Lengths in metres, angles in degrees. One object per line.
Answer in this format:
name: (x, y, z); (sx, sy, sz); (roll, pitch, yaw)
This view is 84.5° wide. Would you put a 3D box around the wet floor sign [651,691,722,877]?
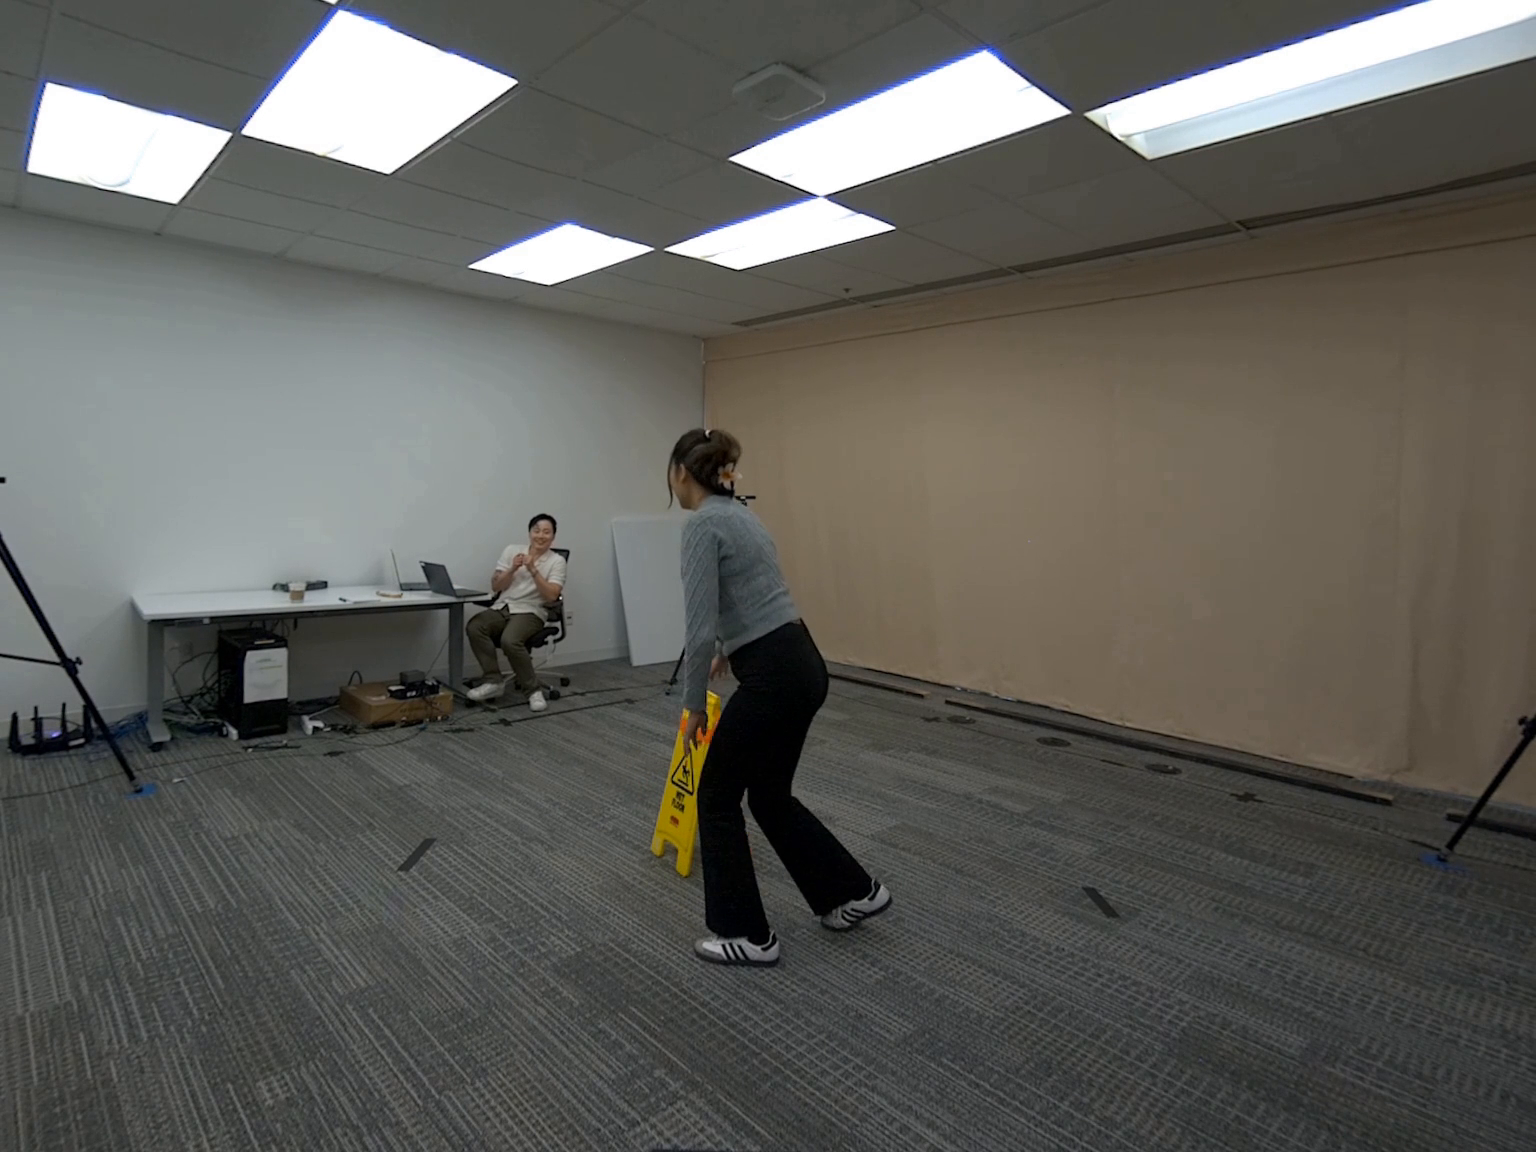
wet floor sign: (-0.259, 0.766, 3.252); (0.283, 0.645, 0.289); (0, 3, -34)
